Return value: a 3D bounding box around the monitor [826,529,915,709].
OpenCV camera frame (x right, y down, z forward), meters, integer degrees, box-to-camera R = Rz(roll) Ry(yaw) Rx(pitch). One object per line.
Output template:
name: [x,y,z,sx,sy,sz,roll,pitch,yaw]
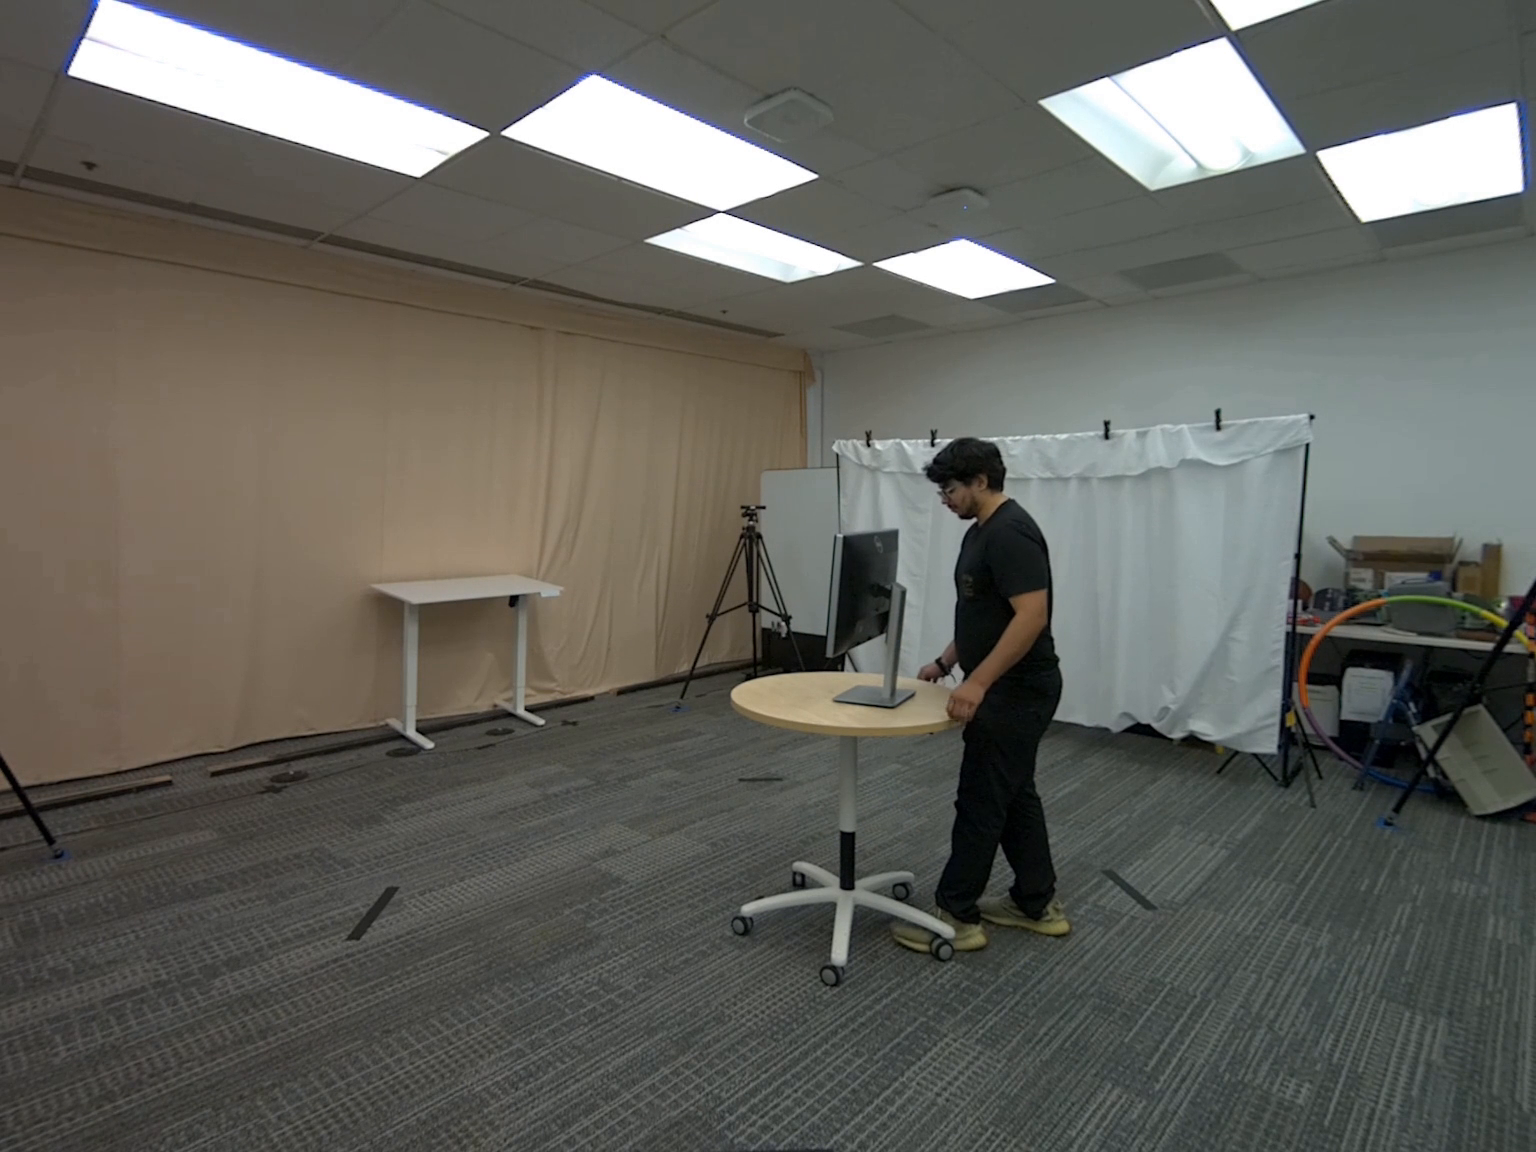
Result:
monitor: [0.376,0.133,2.667,0.216,0.552,0.551,4,5,27]
